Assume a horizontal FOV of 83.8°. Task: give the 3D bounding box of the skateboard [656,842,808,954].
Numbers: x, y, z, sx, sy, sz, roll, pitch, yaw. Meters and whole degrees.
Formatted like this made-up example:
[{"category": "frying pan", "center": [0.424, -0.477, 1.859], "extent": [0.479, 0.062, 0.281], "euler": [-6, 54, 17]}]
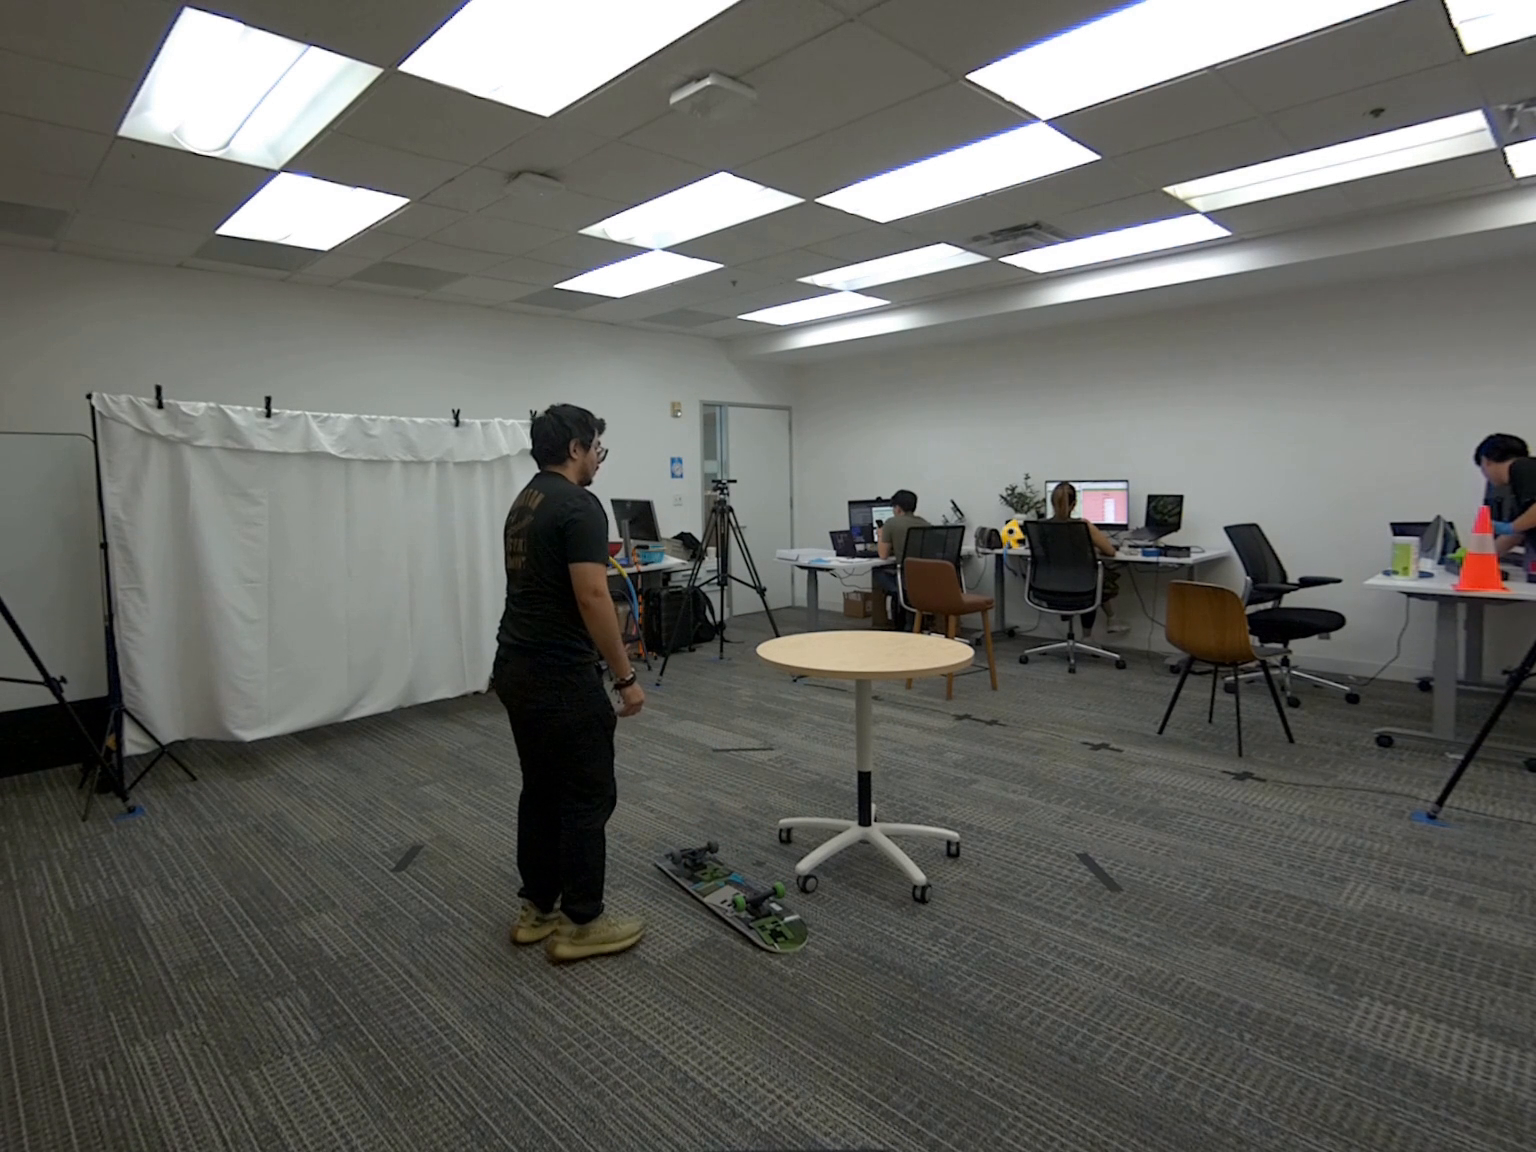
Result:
[{"category": "skateboard", "center": [-0.138, 1.028, 2.857], "extent": [0.189, 0.110, 0.809], "euler": [-7, 8, -34]}]
